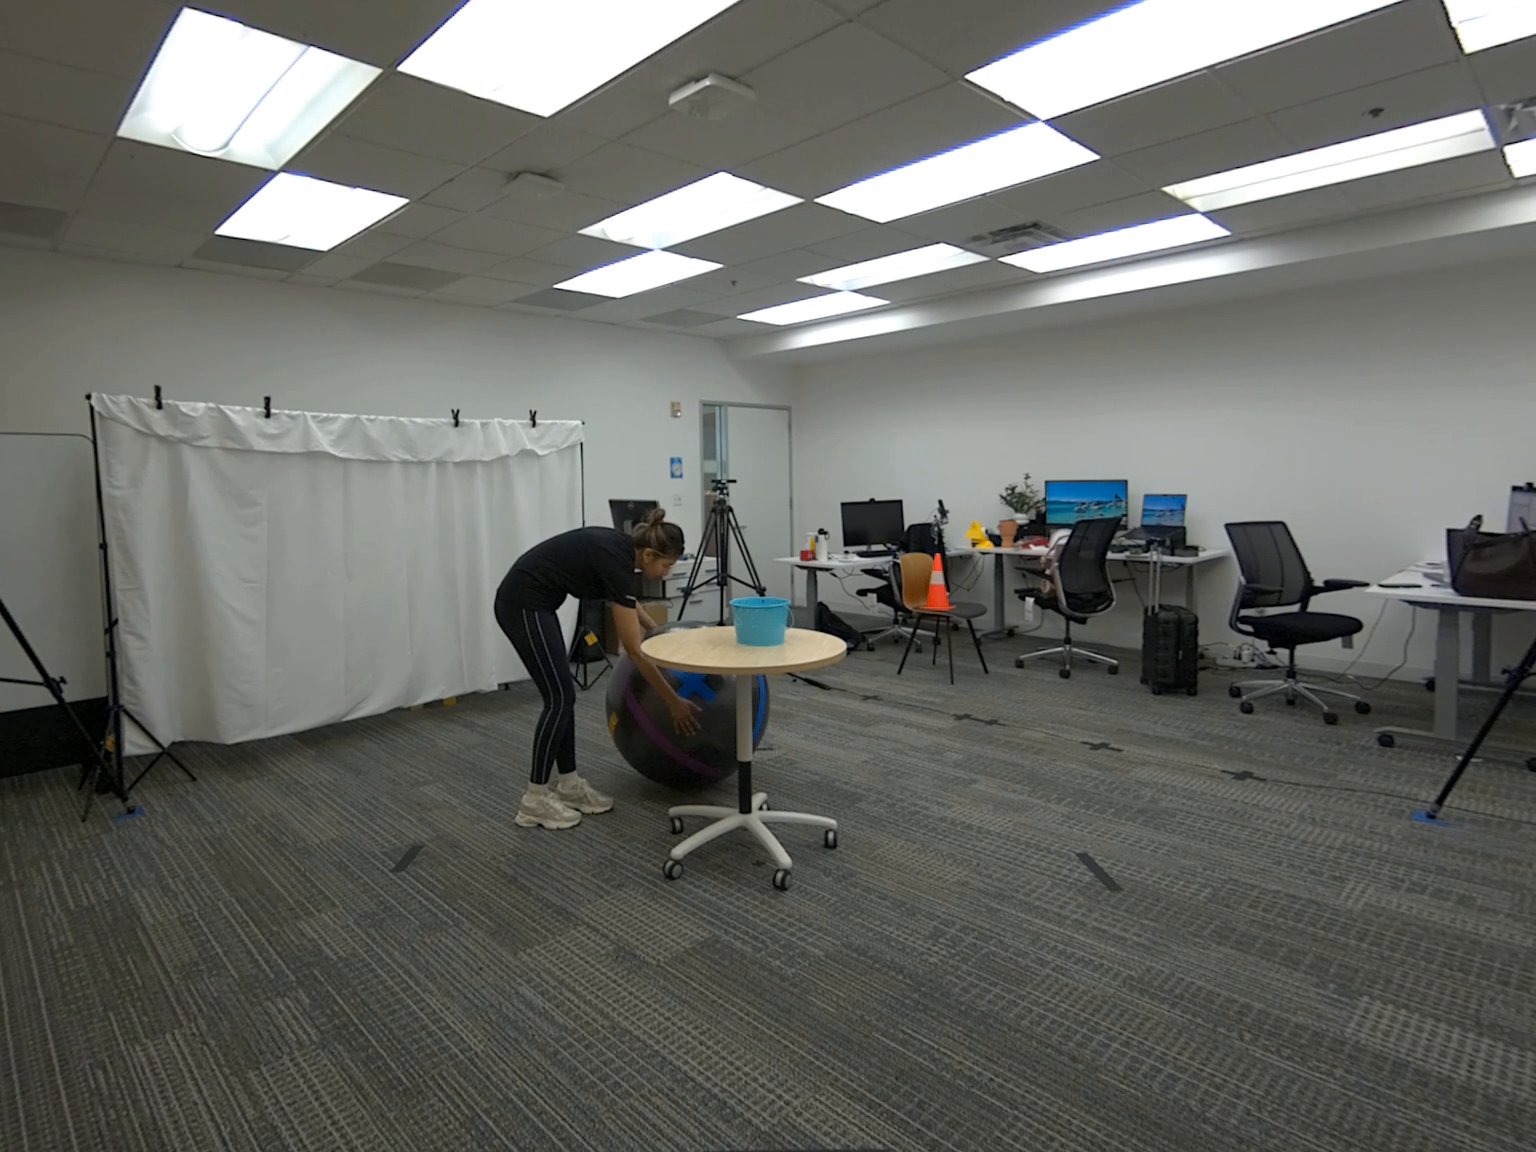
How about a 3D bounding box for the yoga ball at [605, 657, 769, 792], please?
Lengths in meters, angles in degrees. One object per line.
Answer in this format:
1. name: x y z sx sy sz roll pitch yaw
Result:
1. yoga ball: -0.365 0.591 3.946 0.757 0.755 0.762 -1 5 -2
